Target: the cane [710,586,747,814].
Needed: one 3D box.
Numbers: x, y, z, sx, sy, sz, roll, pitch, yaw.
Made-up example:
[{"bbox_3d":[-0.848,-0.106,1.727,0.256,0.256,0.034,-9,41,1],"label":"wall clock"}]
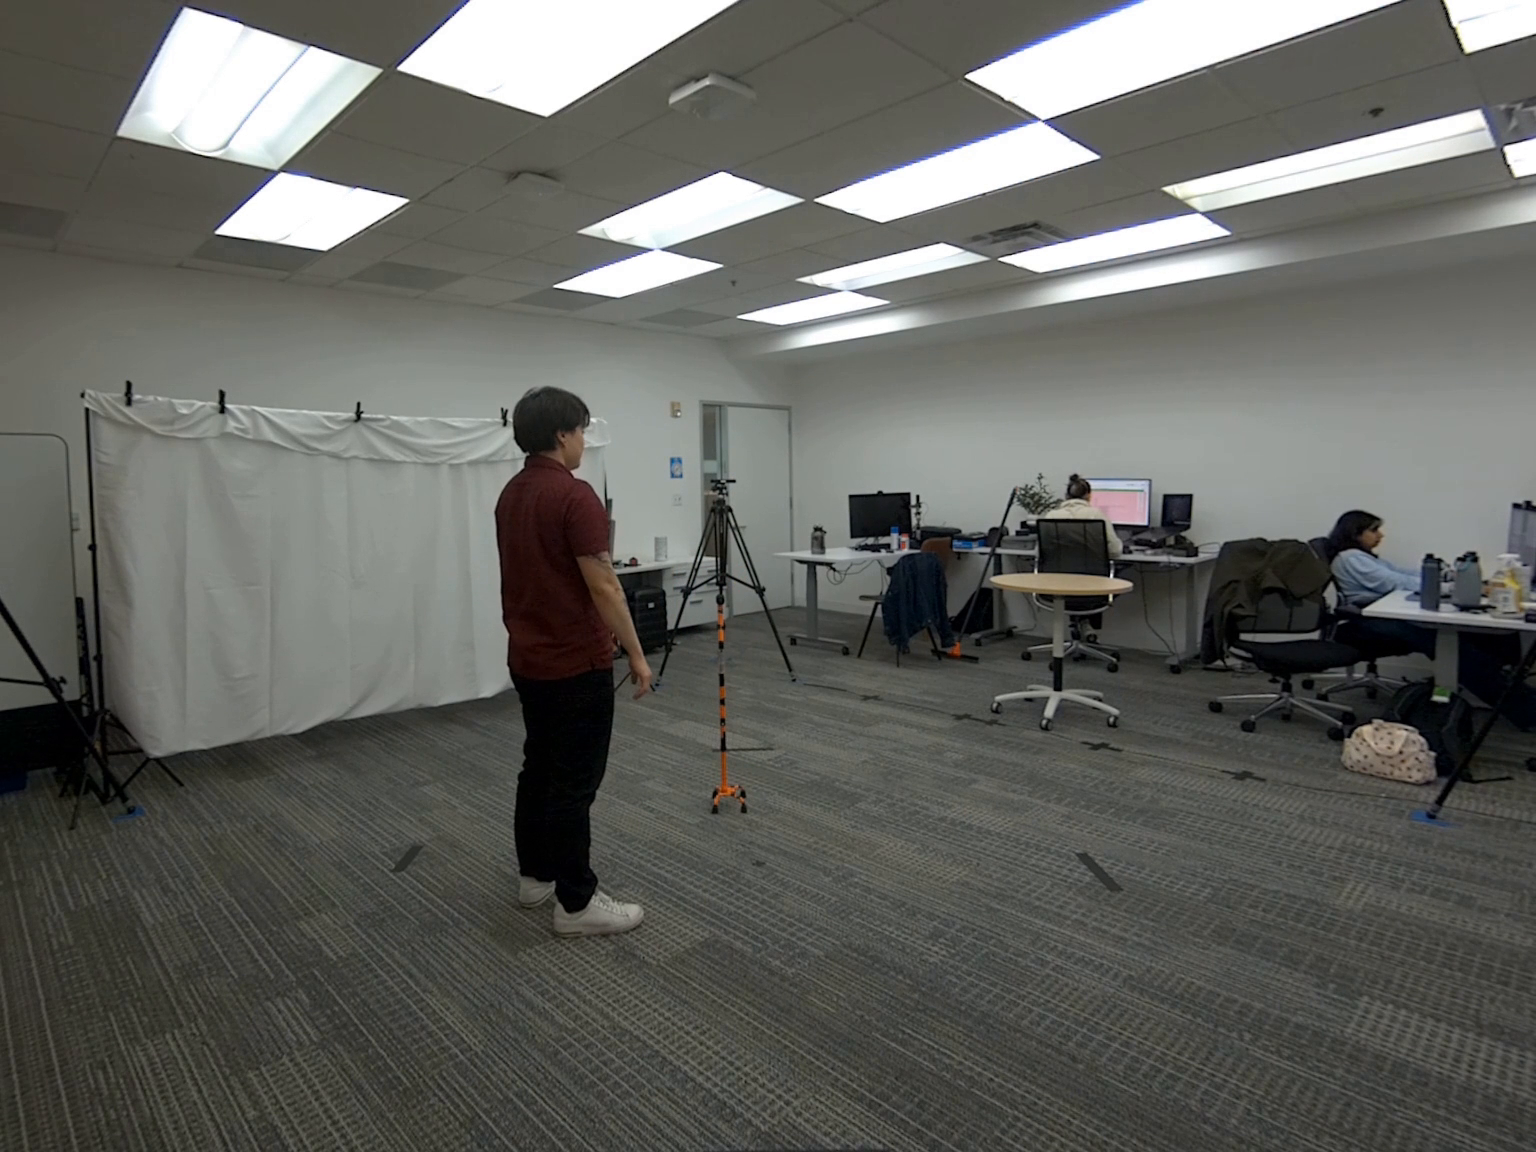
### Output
[{"bbox_3d":[-0.179,0.538,3.661,0.151,0.905,0.207,-2,3,-3],"label":"cane"}]
